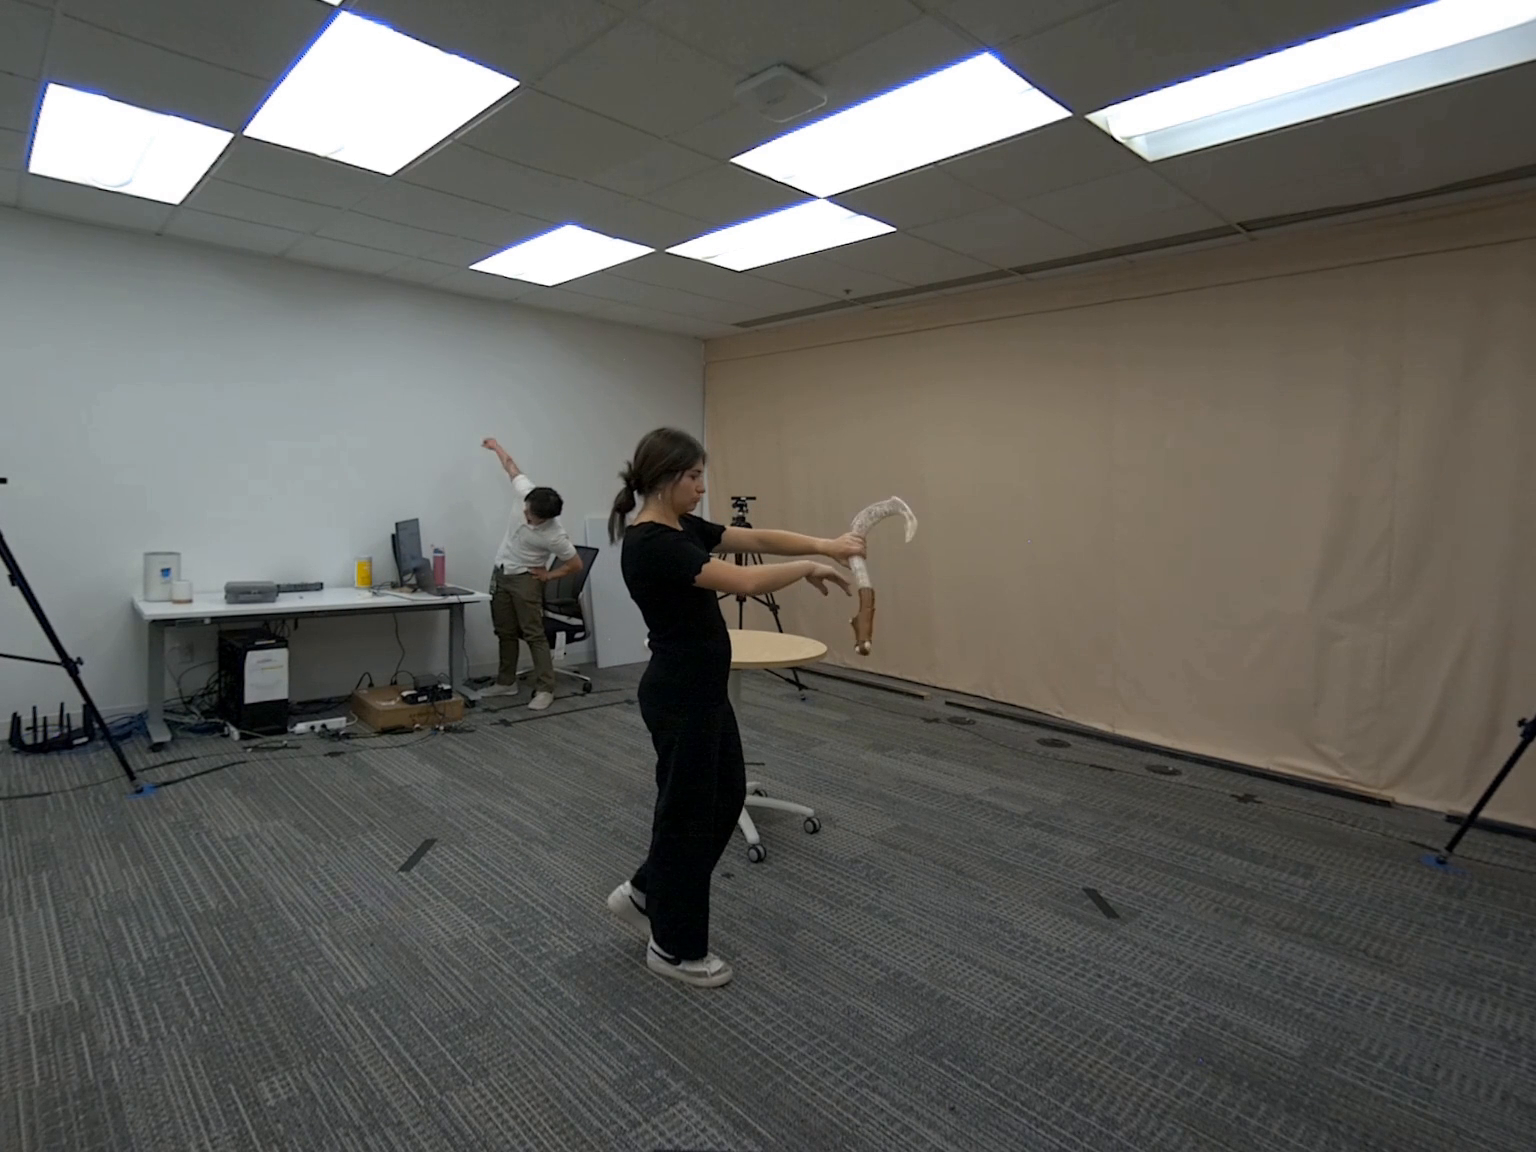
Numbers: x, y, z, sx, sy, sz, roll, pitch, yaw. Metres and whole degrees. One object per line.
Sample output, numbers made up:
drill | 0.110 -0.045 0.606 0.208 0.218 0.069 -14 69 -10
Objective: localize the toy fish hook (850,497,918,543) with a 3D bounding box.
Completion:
toy fish hook | 0.287 -0.012 2.258 0.227 0.516 0.047 -28 -49 35
